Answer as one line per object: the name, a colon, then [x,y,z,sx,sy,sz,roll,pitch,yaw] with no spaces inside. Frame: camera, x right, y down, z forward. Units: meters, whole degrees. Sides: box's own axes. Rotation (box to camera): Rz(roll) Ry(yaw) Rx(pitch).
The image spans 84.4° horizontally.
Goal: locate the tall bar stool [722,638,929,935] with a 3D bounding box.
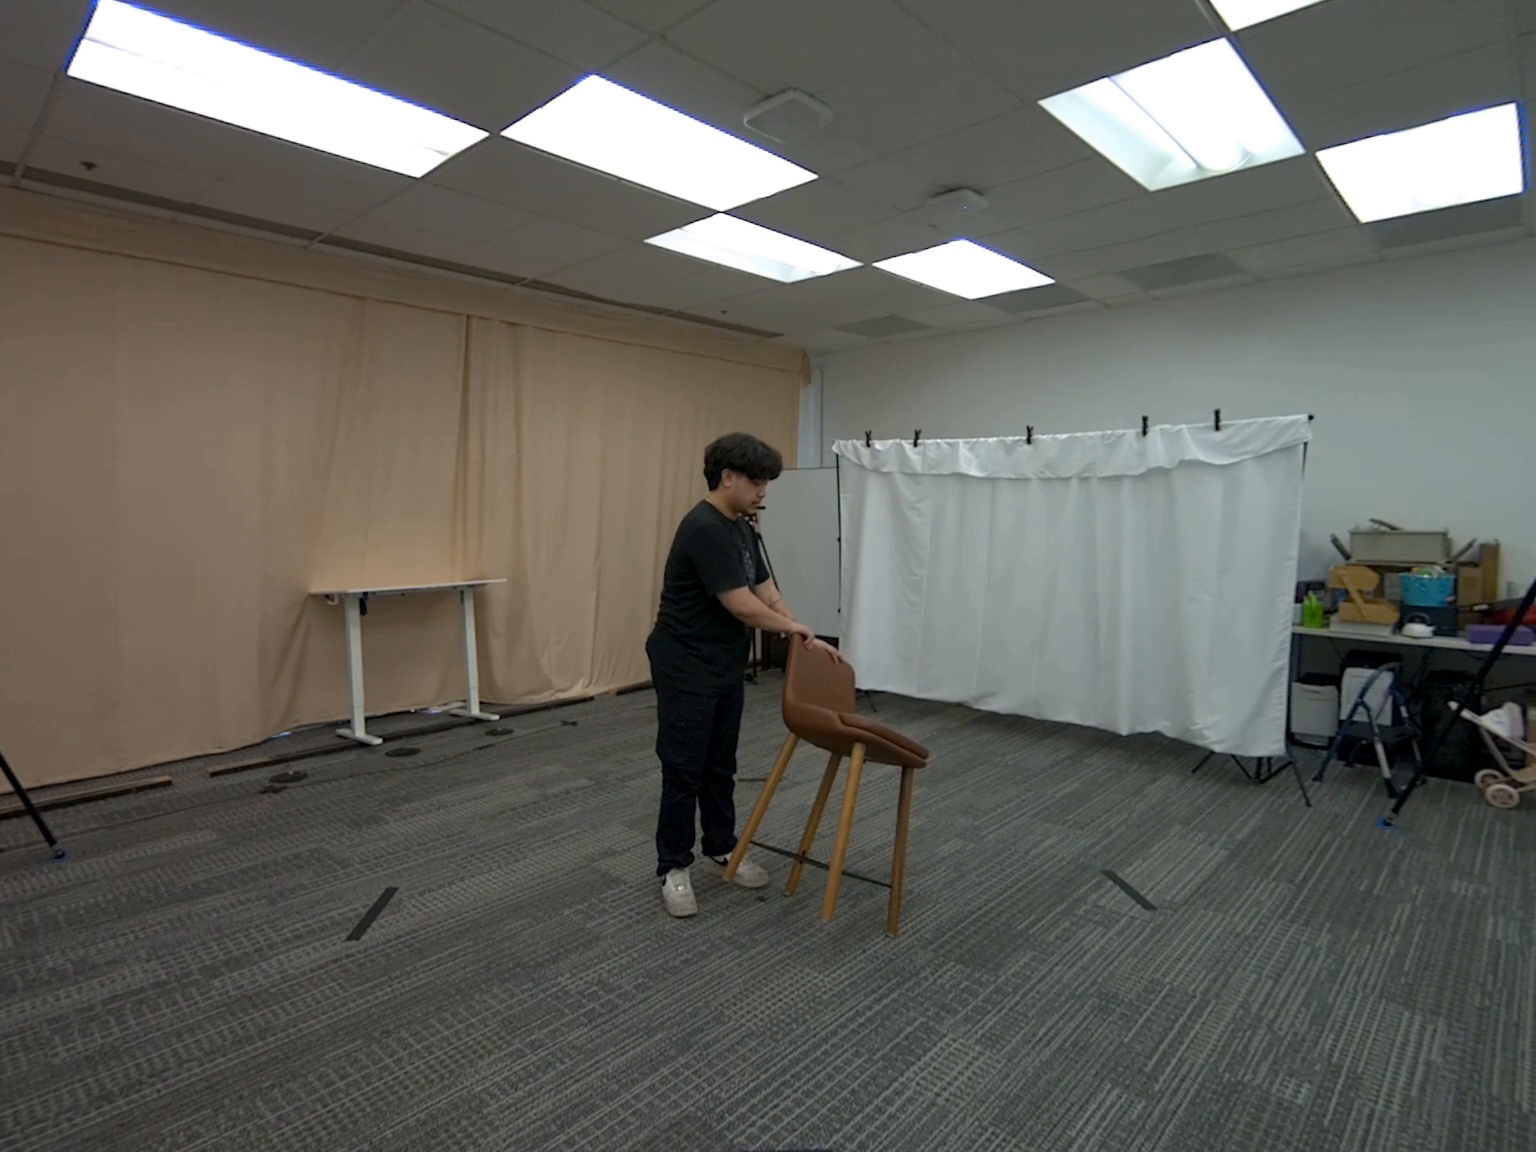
tall bar stool: [0.251,0.681,2.869,0.482,0.894,0.440,-1,-24,43]
